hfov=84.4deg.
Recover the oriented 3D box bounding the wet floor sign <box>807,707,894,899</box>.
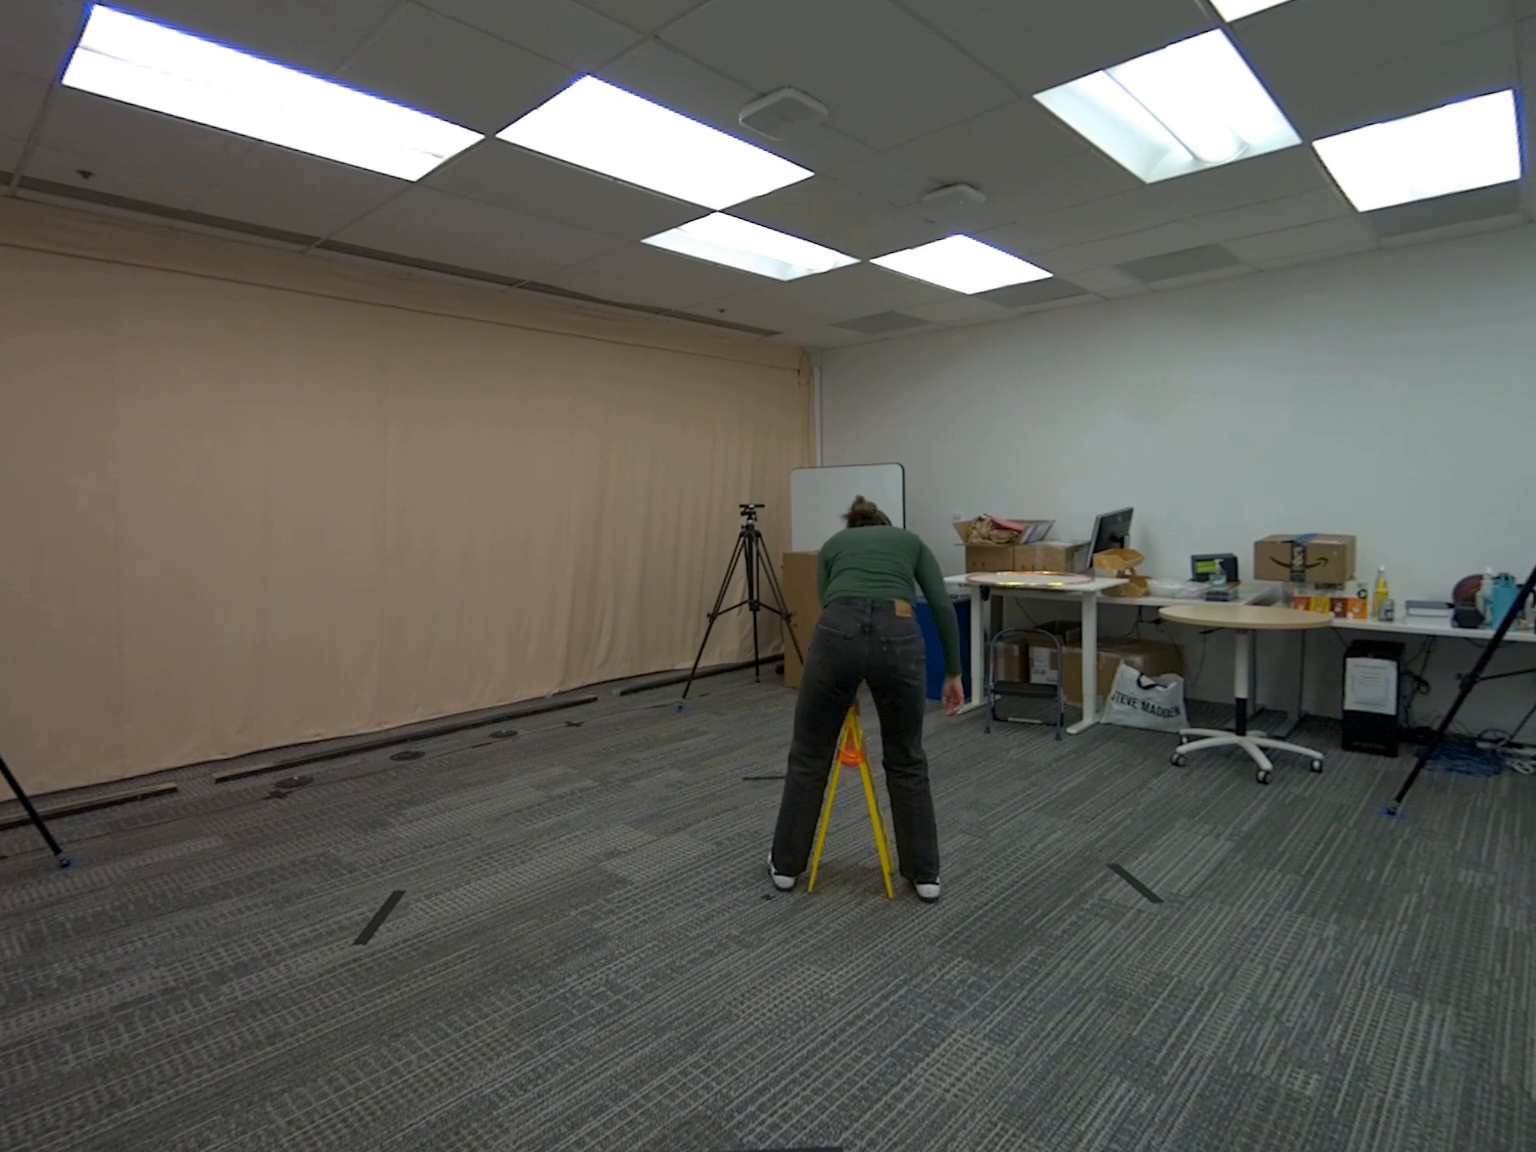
[{"bbox_3d":[0.310,0.804,3.100,0.293,0.645,0.280,-1,2,9],"label":"wet floor sign"}]
